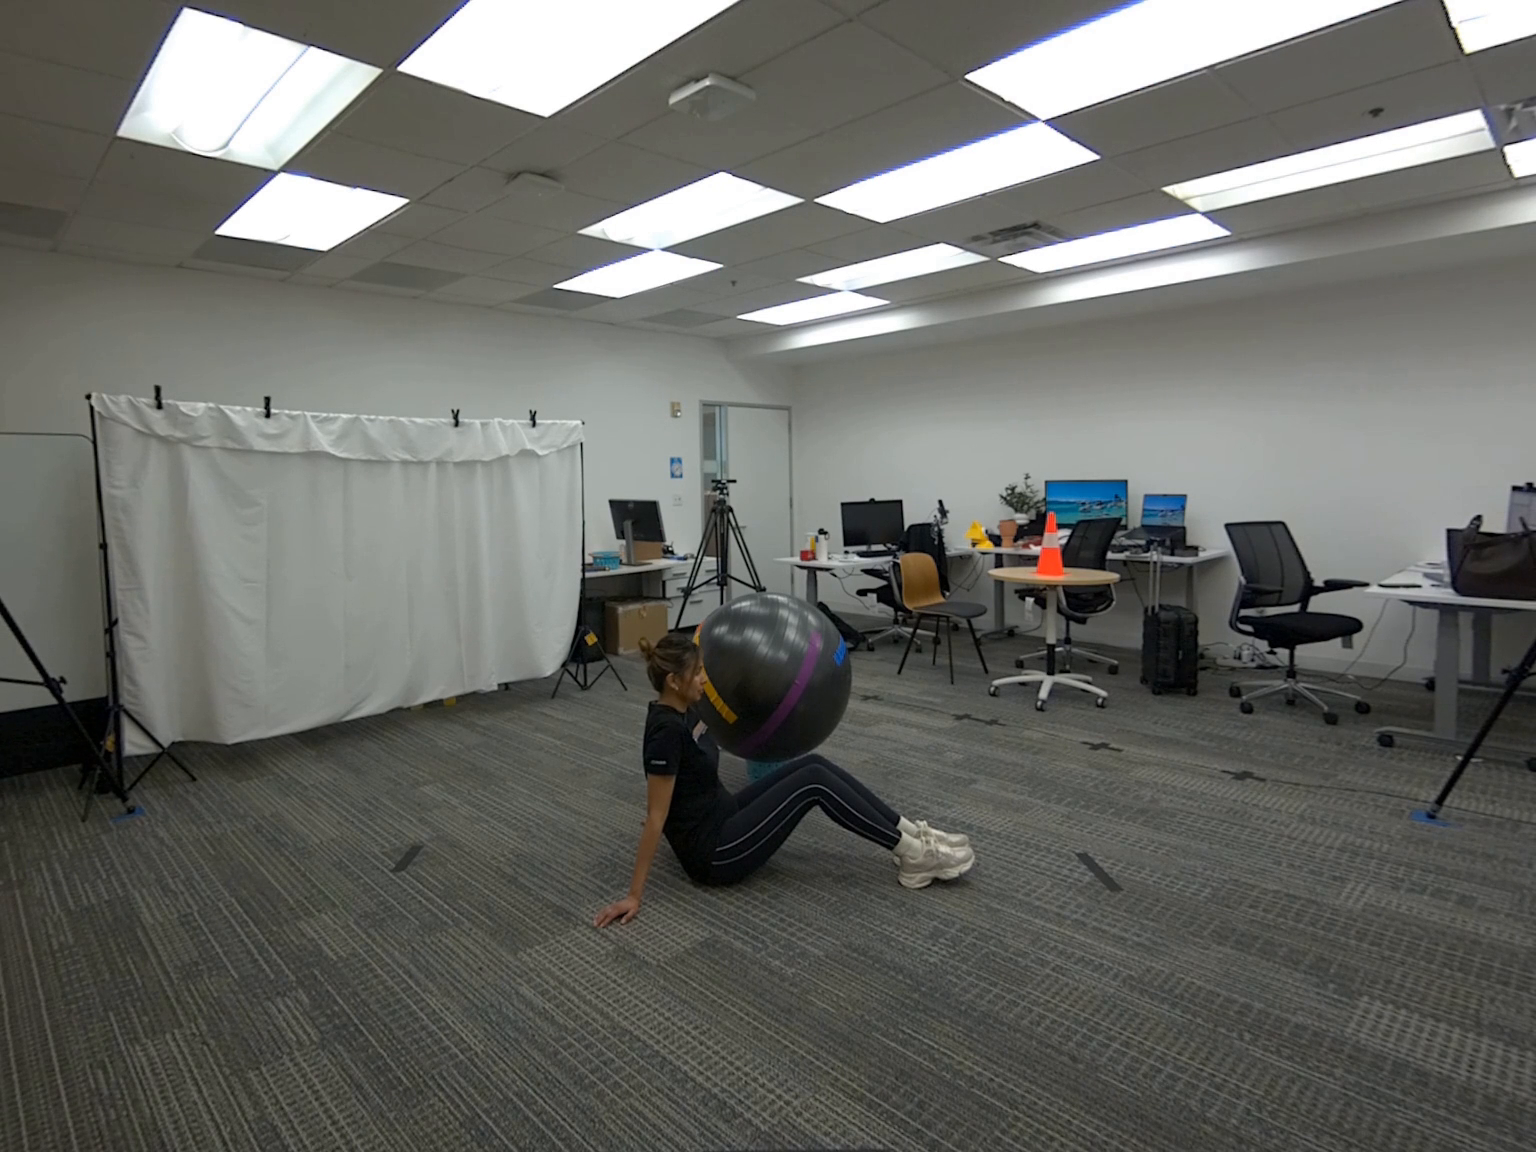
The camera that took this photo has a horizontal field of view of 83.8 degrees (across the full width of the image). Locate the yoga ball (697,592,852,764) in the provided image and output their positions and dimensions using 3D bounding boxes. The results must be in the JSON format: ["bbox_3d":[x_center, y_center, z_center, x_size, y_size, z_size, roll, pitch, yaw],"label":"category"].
[{"bbox_3d":[-0.003,0.456,3.857,0.757,0.755,0.762,-1,5,-2],"label":"yoga ball"}]
